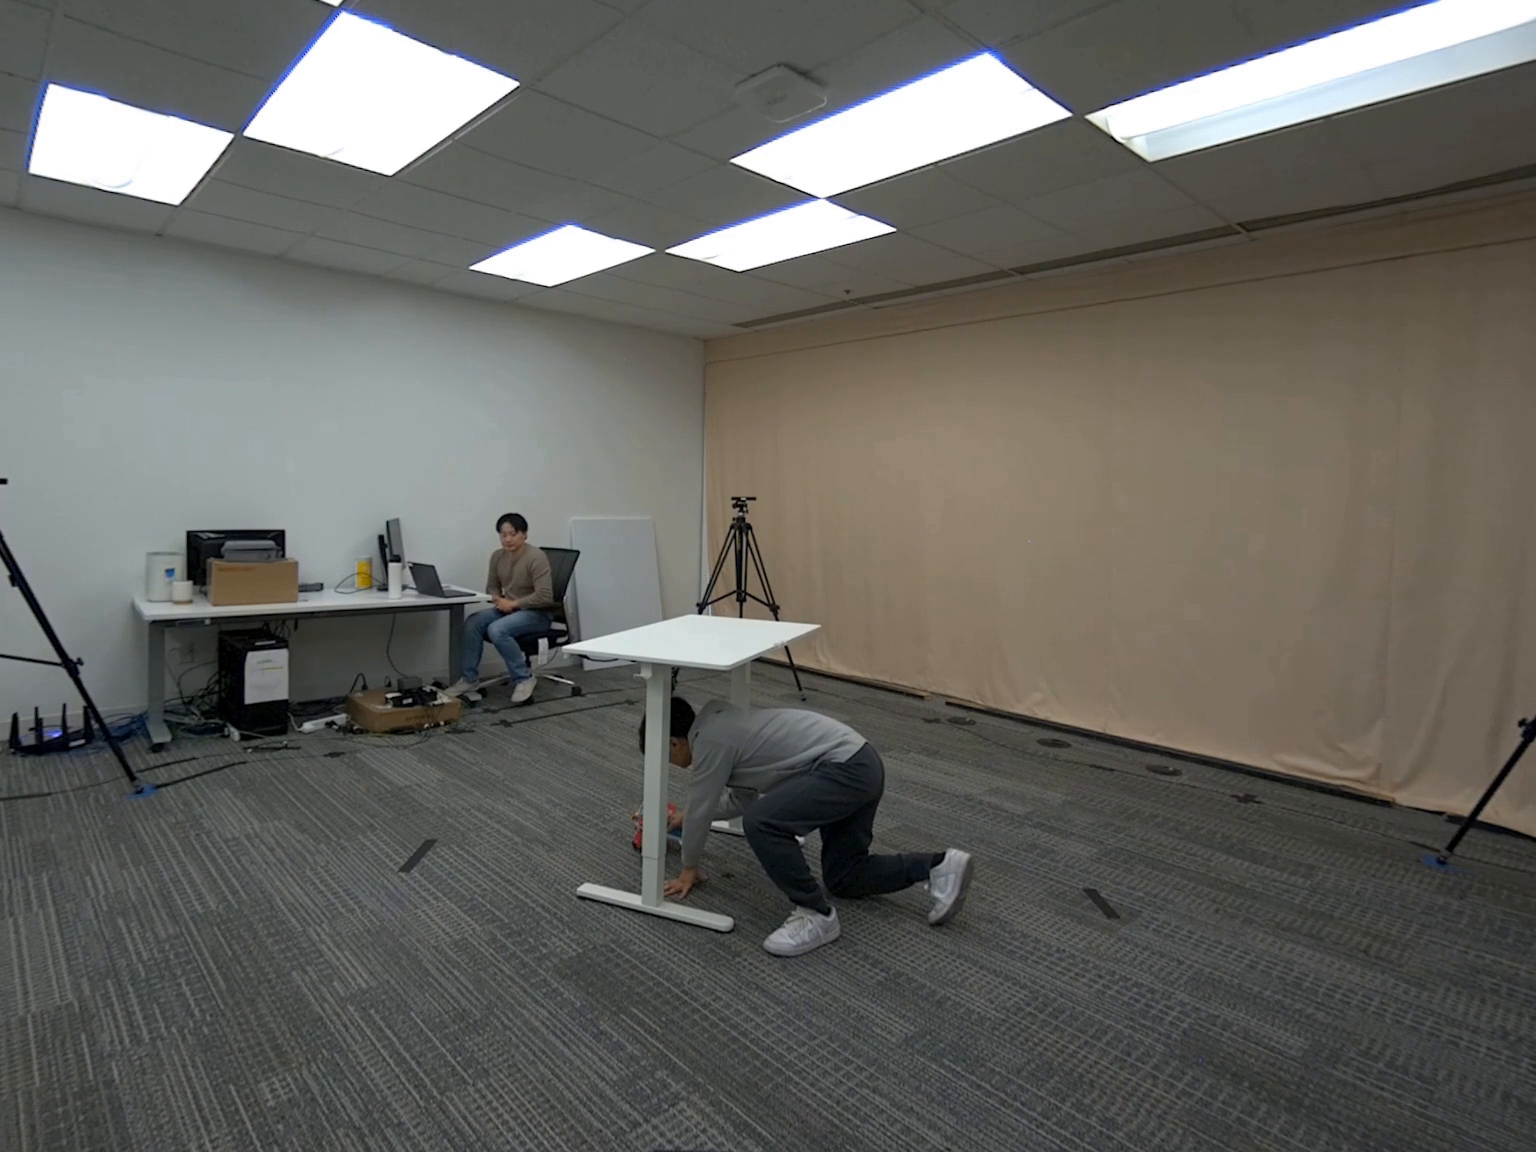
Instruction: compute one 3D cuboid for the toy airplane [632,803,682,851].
[{"bbox_3d":[-0.419,1.009,3.346,0.257,0.156,0.254,-1,6,-11],"label":"toy airplane"}]
